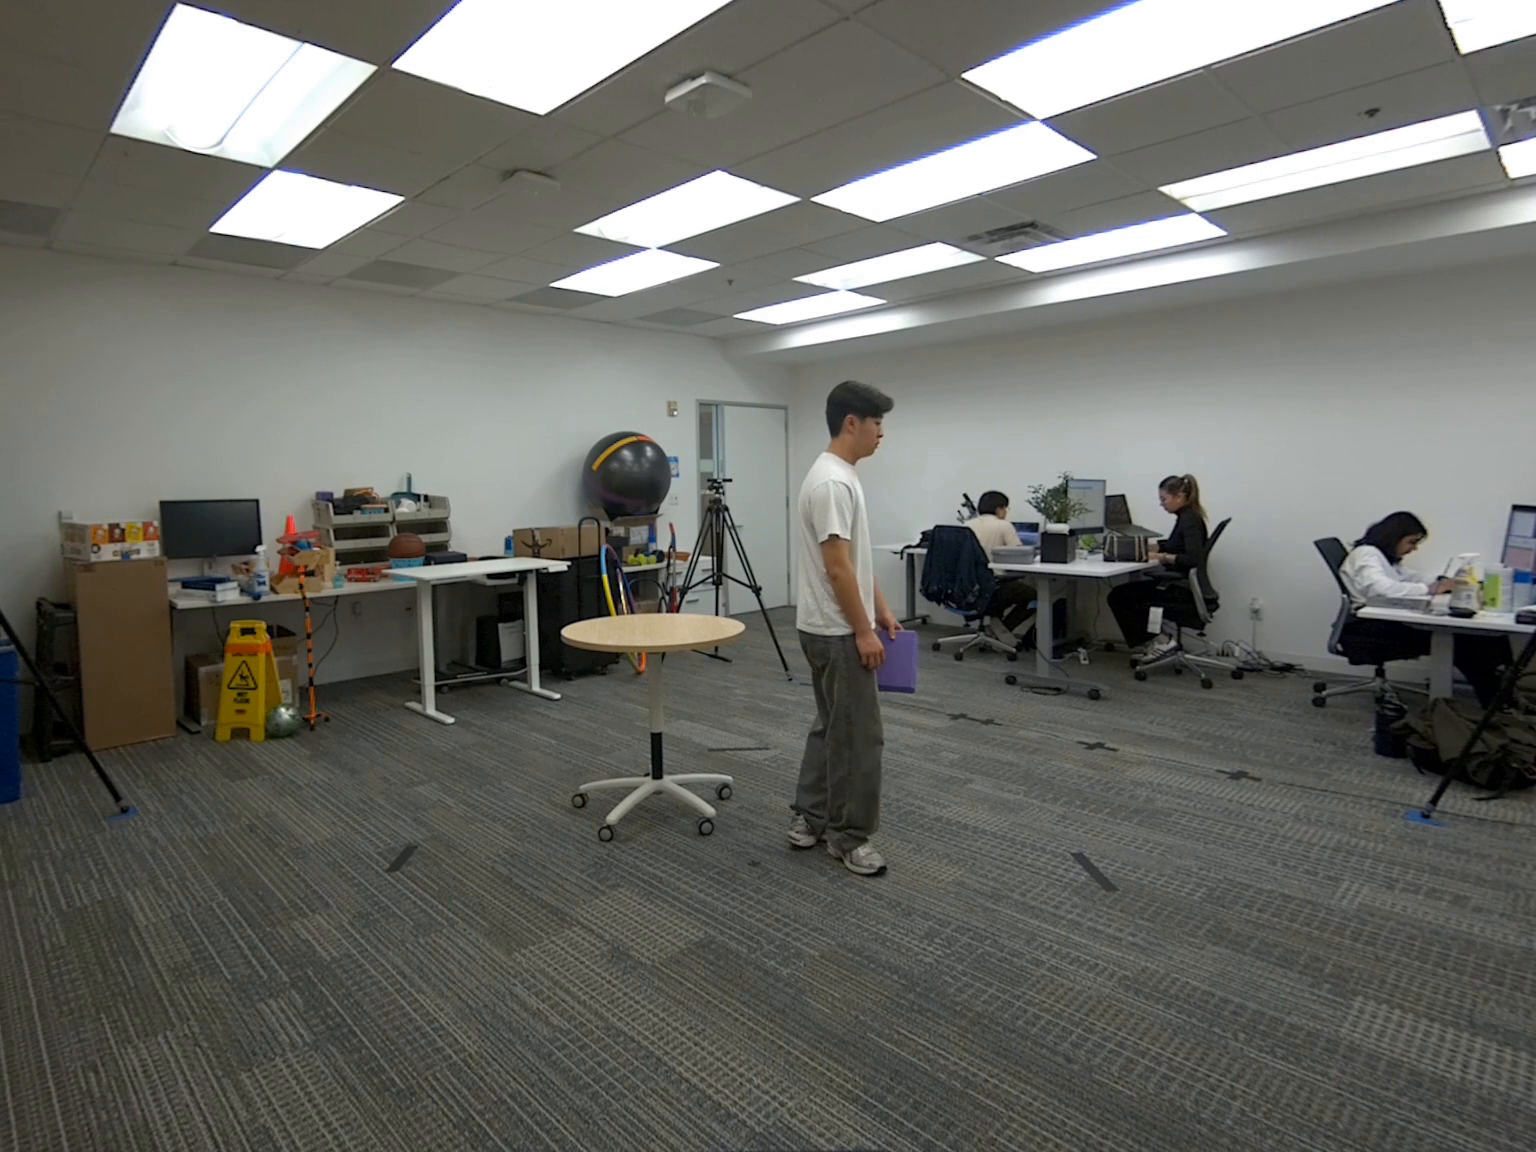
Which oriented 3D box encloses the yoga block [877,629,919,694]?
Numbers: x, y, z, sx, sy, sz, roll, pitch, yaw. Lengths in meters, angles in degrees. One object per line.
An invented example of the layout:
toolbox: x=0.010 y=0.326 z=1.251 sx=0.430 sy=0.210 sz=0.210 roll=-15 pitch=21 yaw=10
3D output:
yoga block: x=0.489 y=0.323 z=3.275 sx=0.151 sy=0.232 sz=0.074 roll=2 pitch=-20 yaw=15
